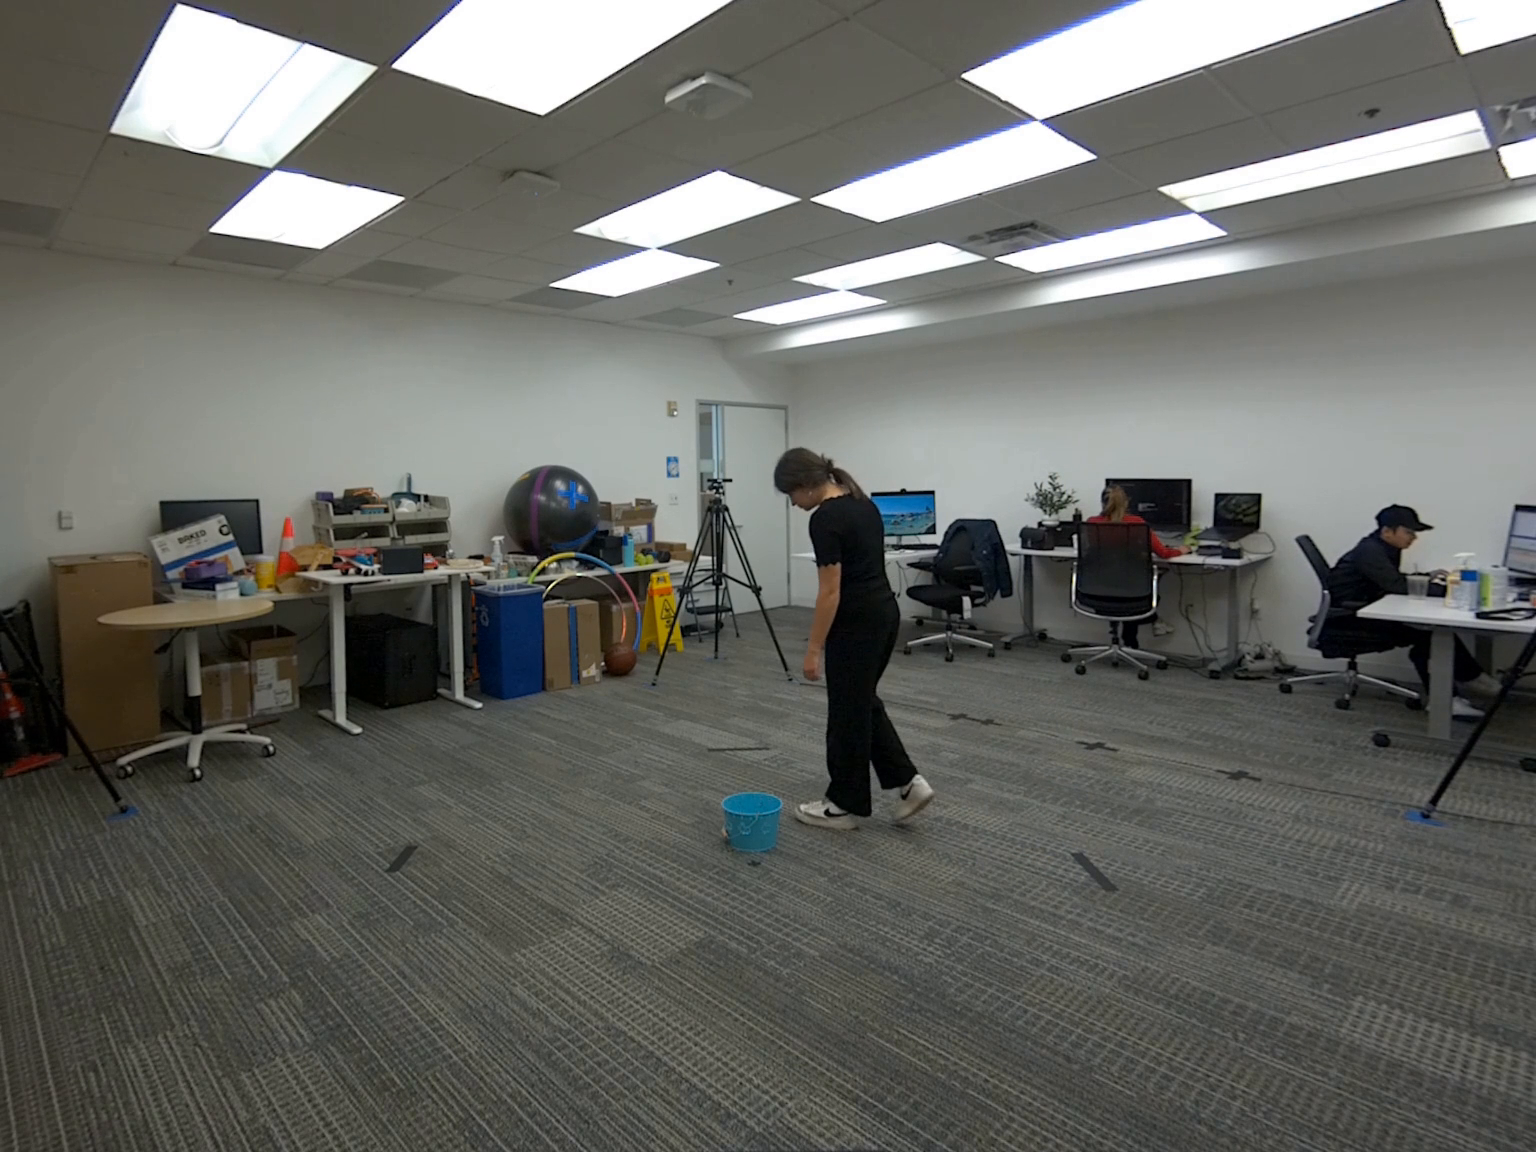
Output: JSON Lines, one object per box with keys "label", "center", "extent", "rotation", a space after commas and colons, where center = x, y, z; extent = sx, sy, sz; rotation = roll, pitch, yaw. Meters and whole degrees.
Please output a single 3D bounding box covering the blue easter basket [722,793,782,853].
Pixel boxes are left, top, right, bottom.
{"label": "blue easter basket", "center": [-0.065, 0.945, 3.286], "extent": [0.243, 0.155, 0.245], "rotation": [-1, 6, -2]}
